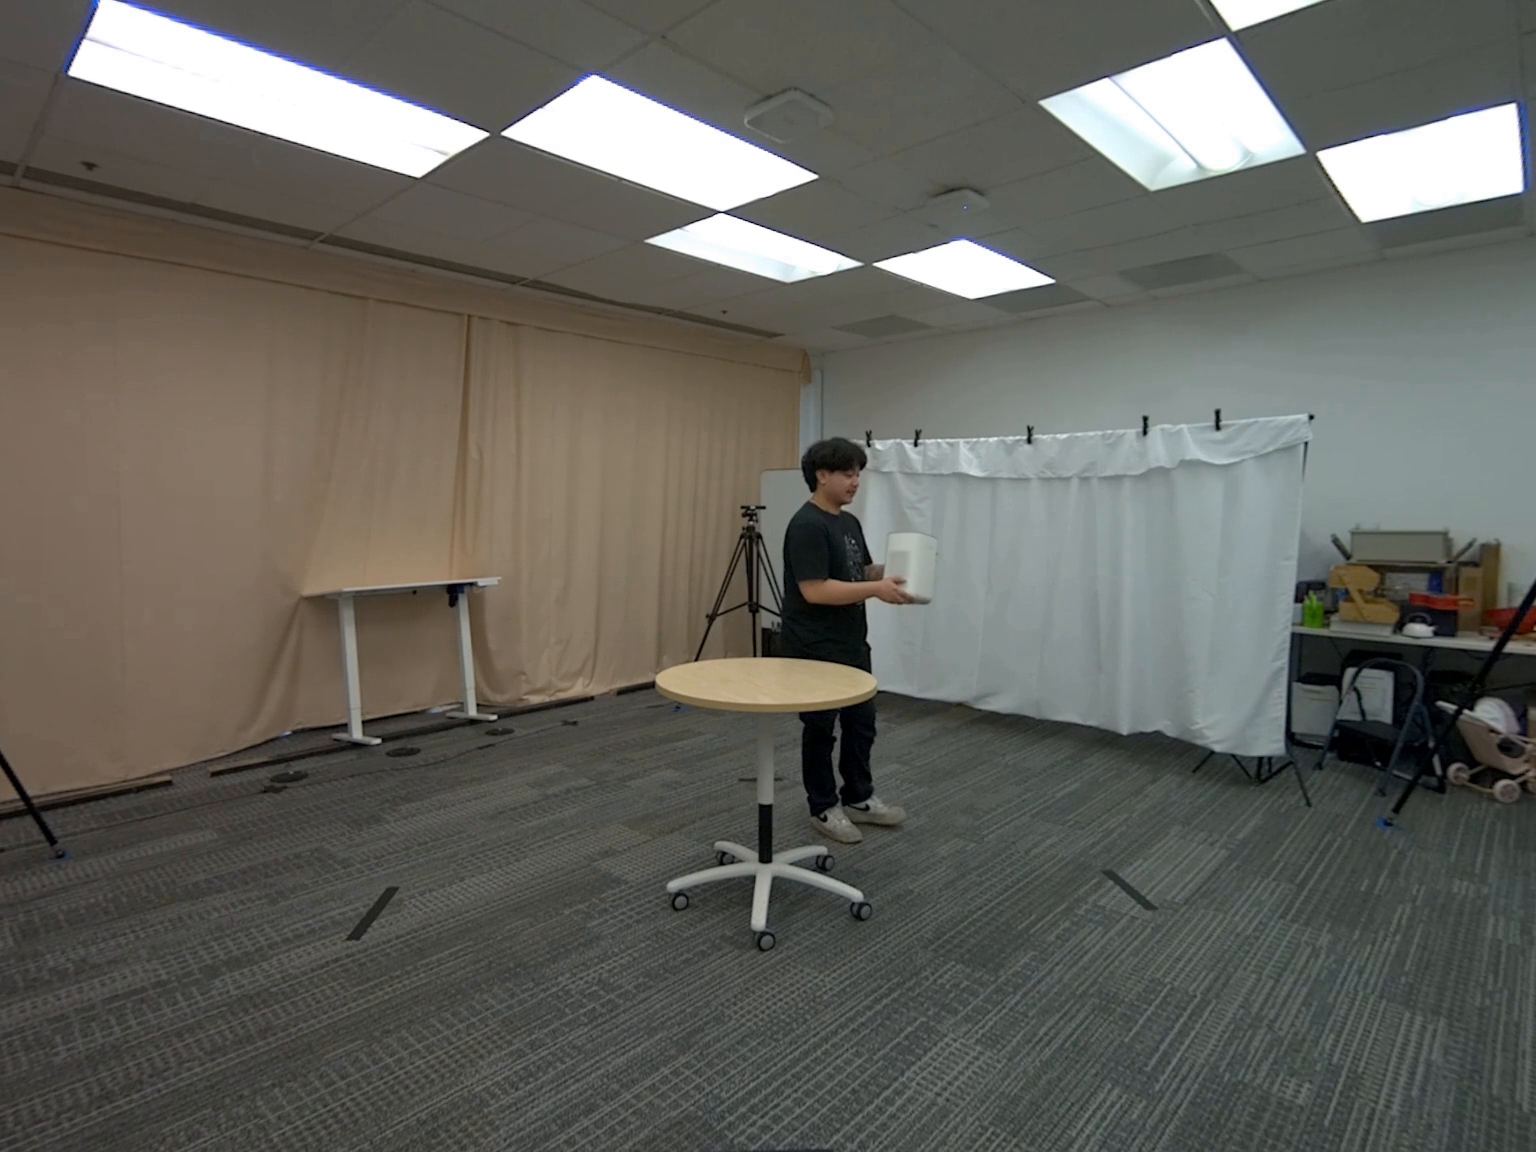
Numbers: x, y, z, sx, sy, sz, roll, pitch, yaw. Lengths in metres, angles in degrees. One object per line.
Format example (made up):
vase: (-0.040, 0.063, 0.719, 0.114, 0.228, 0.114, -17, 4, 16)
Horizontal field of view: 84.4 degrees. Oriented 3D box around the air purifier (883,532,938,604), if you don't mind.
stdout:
air purifier: (0.560, -0.026, 3.324, 0.177, 0.266, 0.165, -1, -13, 41)
